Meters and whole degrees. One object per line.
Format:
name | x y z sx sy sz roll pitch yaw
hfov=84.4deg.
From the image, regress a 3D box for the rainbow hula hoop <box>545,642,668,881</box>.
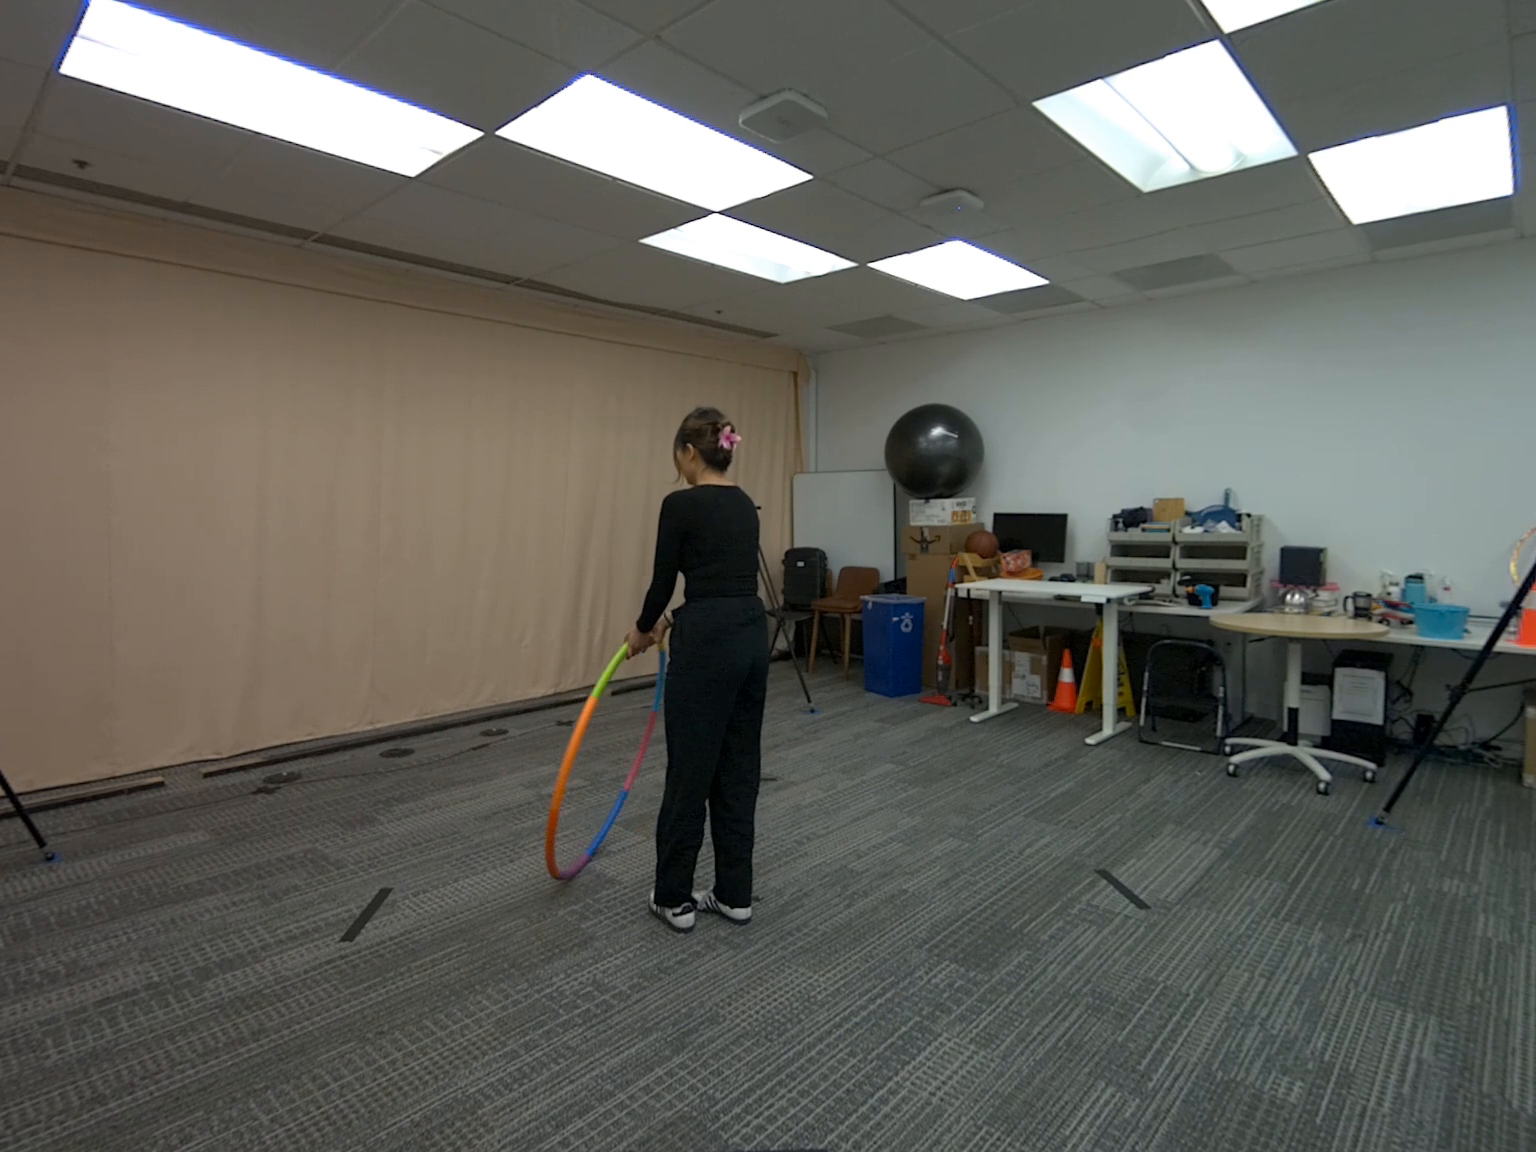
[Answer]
rainbow hula hoop | -0.604 0.665 3.221 0.036 0.976 0.967 18 7 9
